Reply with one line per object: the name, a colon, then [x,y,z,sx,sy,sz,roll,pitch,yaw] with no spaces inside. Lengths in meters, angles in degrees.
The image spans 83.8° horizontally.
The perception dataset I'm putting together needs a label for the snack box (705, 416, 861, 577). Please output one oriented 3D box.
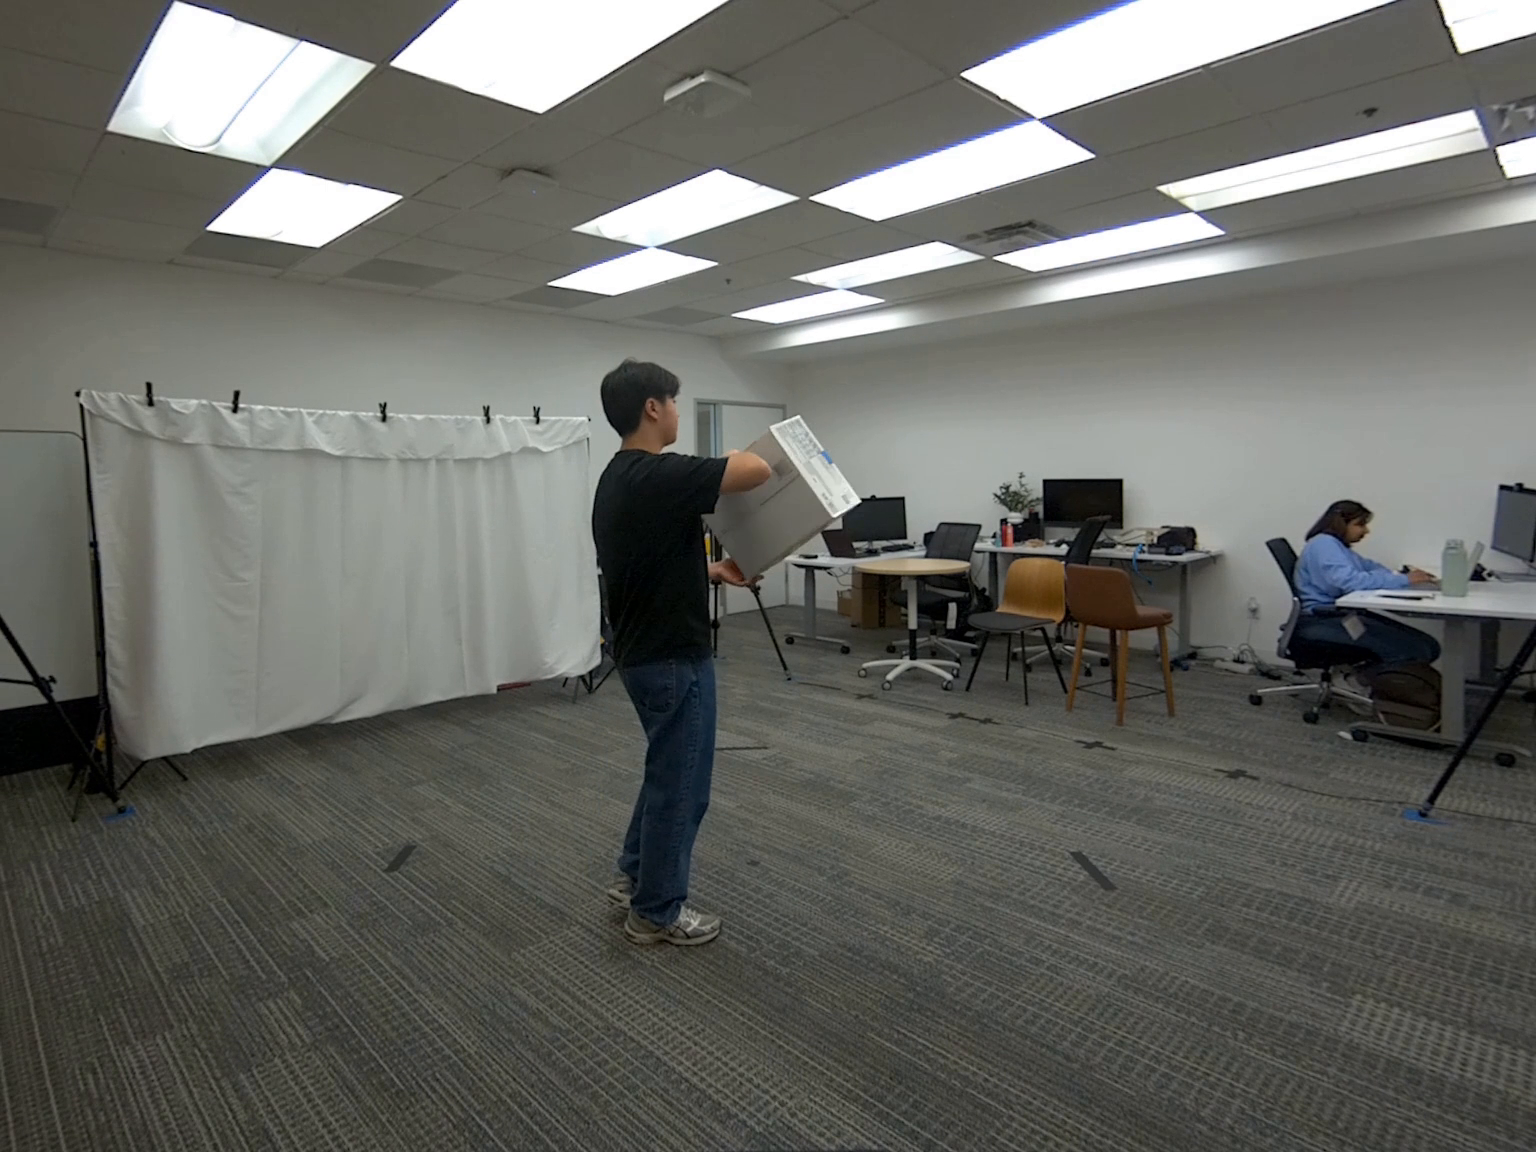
snack box: [0.020,-0.244,2.740,0.407,0.342,0.203,-37,-5,37]
